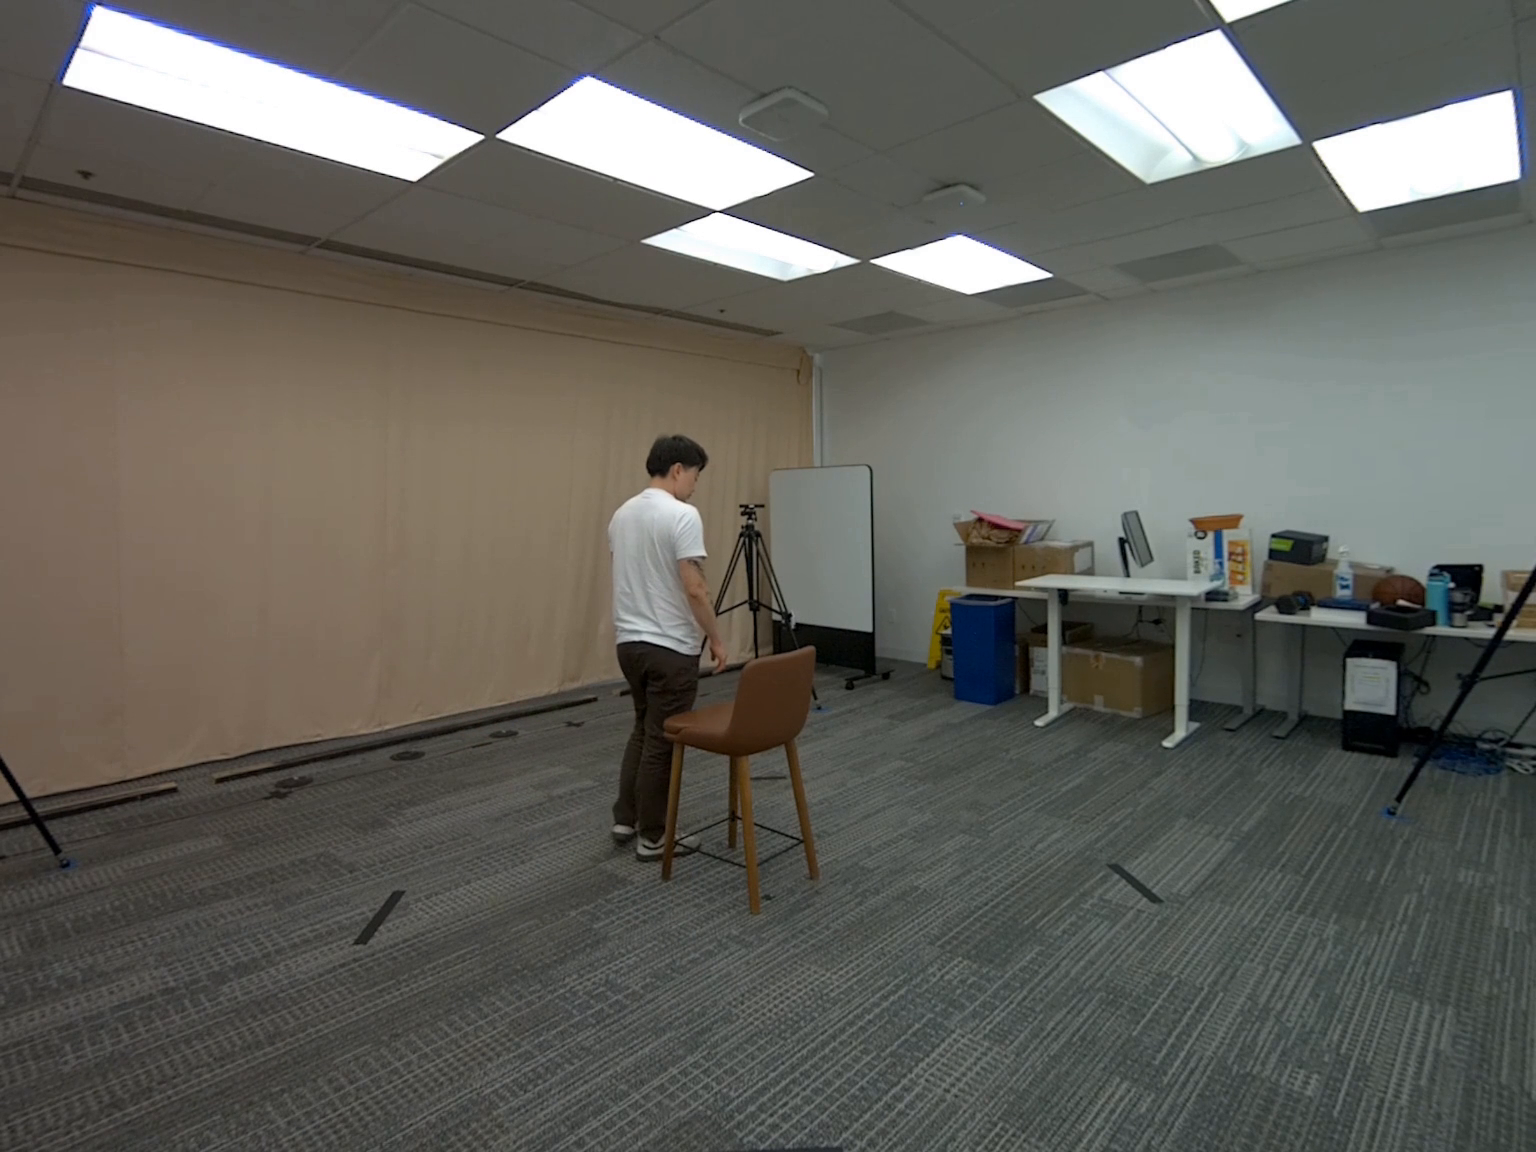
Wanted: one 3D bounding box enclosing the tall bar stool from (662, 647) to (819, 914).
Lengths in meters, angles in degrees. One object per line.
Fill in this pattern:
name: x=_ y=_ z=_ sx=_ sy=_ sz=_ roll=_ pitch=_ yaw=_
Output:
tall bar stool: x=-0.101 y=0.696 z=3.116 sx=0.483 sy=0.887 sz=0.443 roll=4 pitch=6 yaw=40
